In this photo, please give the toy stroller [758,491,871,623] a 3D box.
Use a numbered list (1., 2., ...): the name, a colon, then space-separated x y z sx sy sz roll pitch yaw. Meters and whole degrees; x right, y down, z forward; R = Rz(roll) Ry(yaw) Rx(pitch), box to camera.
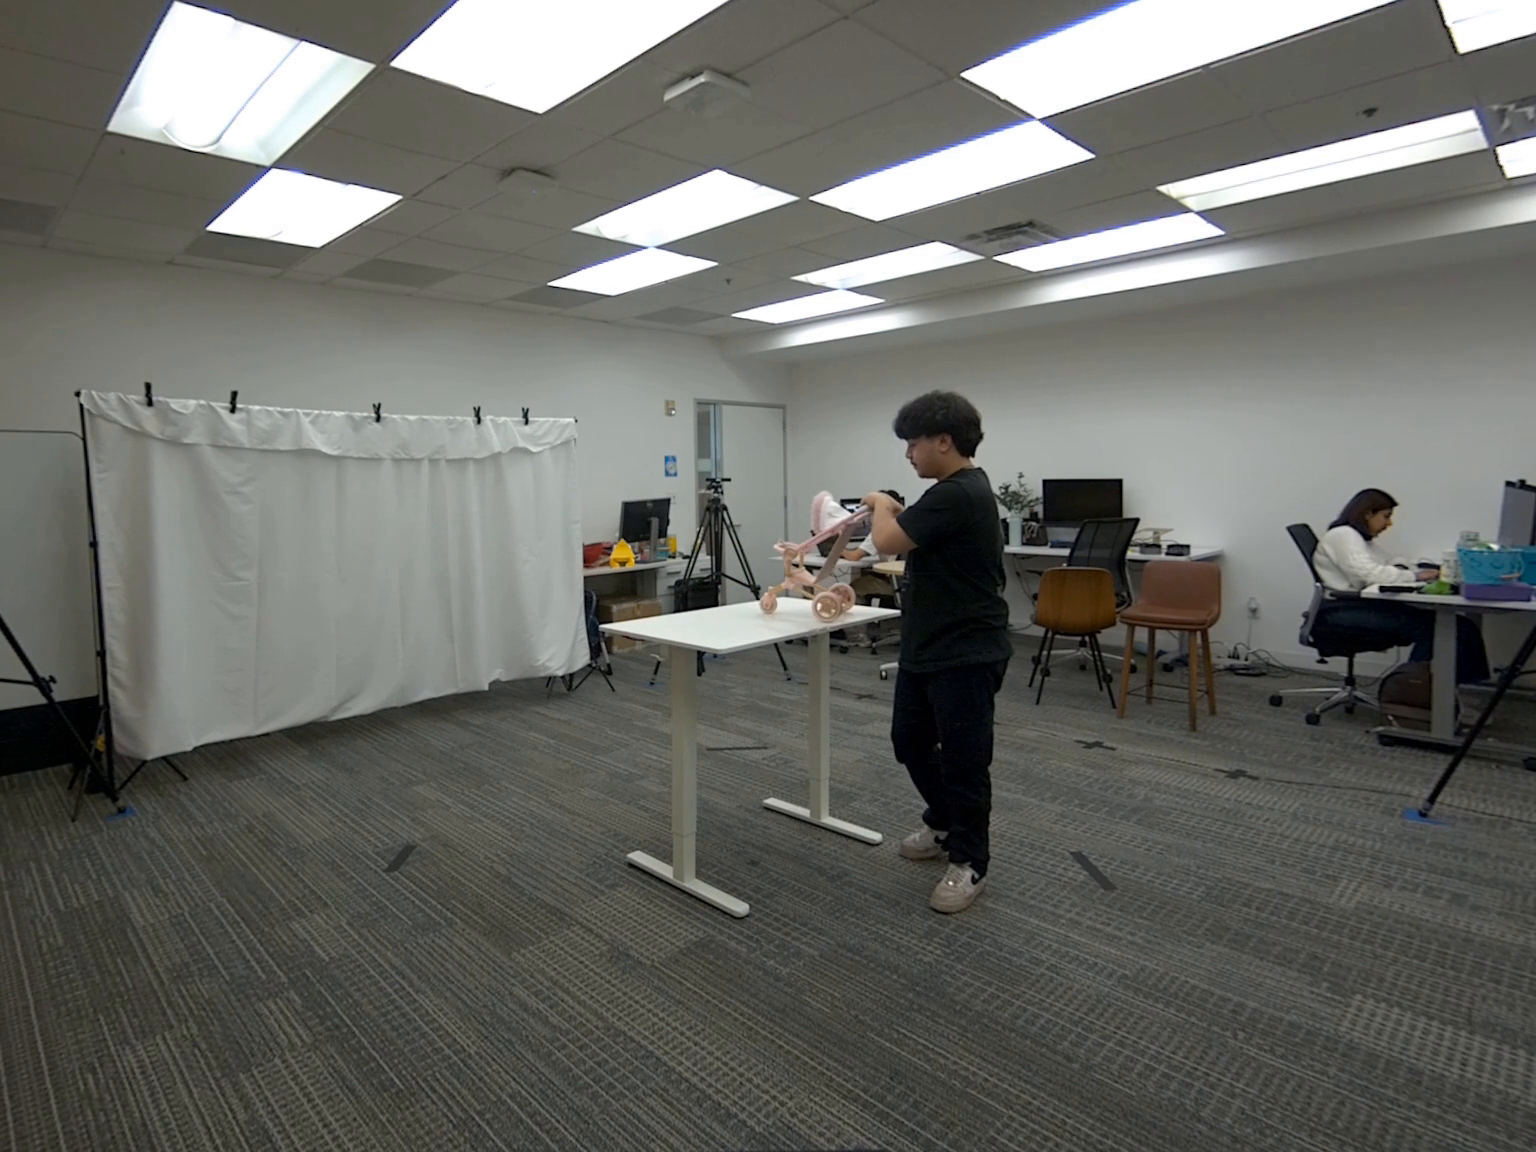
1. toy stroller: 0.182 -0.071 3.164 0.350 0.531 0.276 18 11 22
